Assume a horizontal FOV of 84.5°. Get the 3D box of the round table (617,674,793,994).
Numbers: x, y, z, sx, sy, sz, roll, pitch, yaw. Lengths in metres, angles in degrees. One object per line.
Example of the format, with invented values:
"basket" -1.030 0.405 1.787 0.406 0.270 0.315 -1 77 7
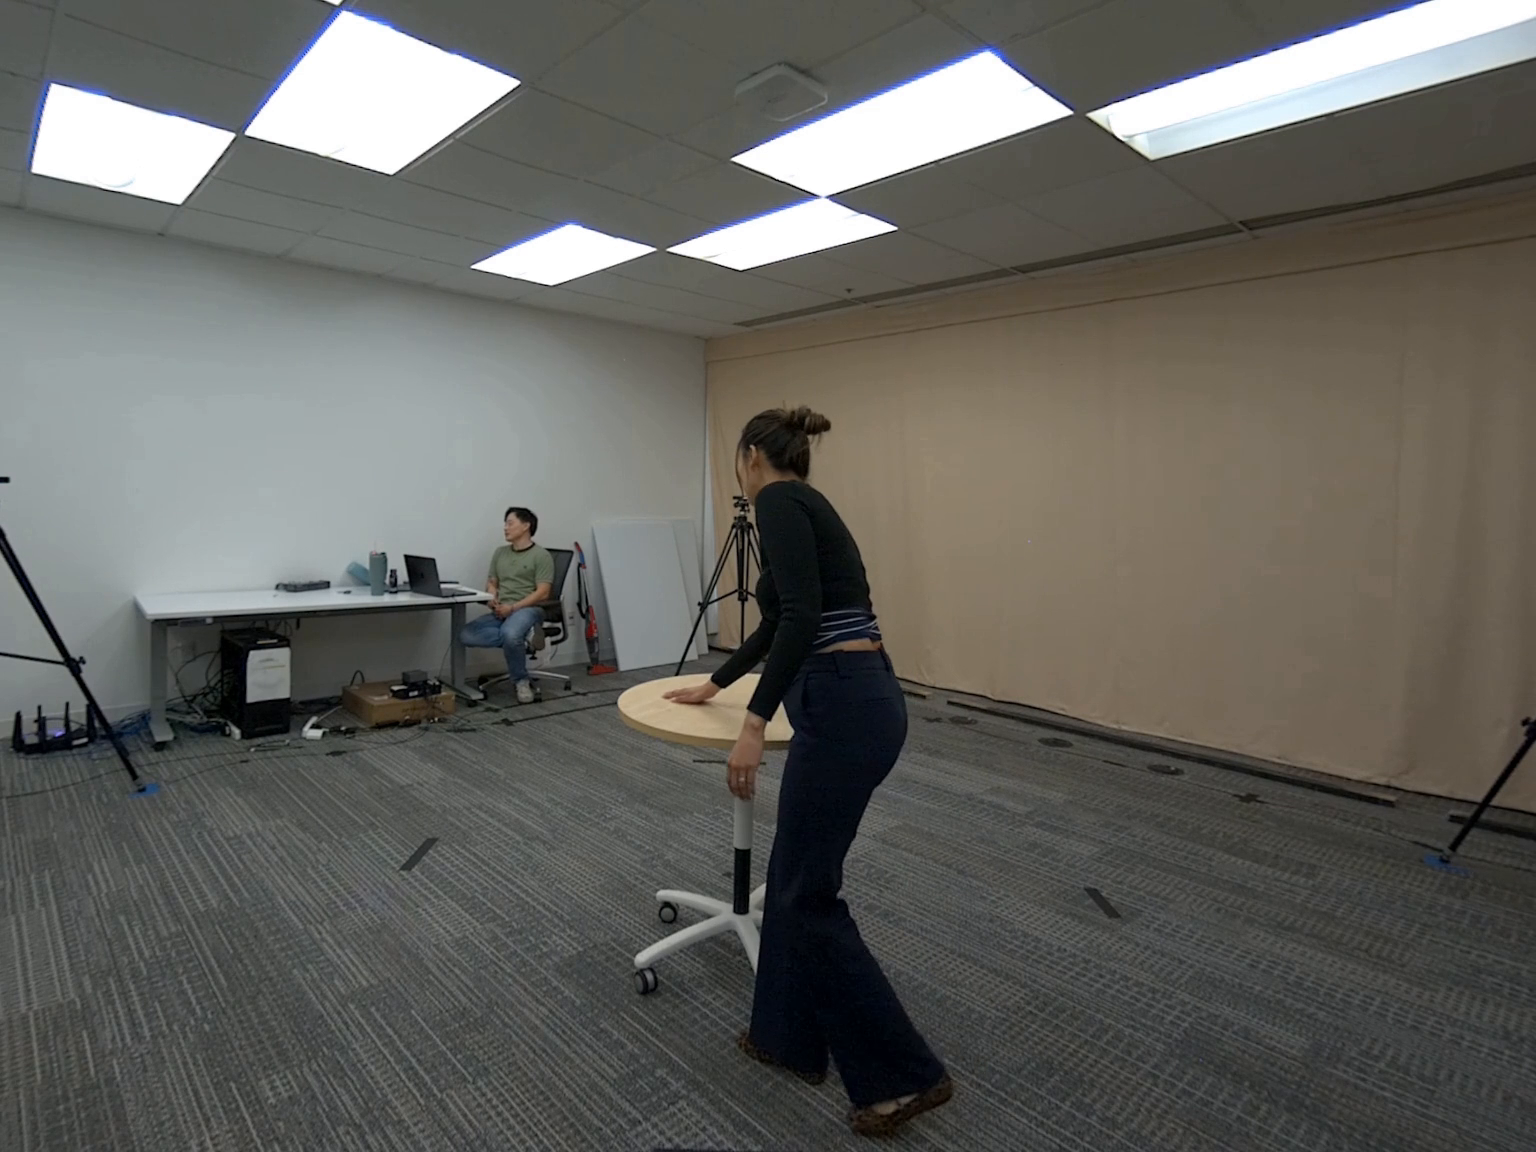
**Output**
"round table" -0.083 0.771 2.529 0.763 0.792 0.767 2 4 -1
